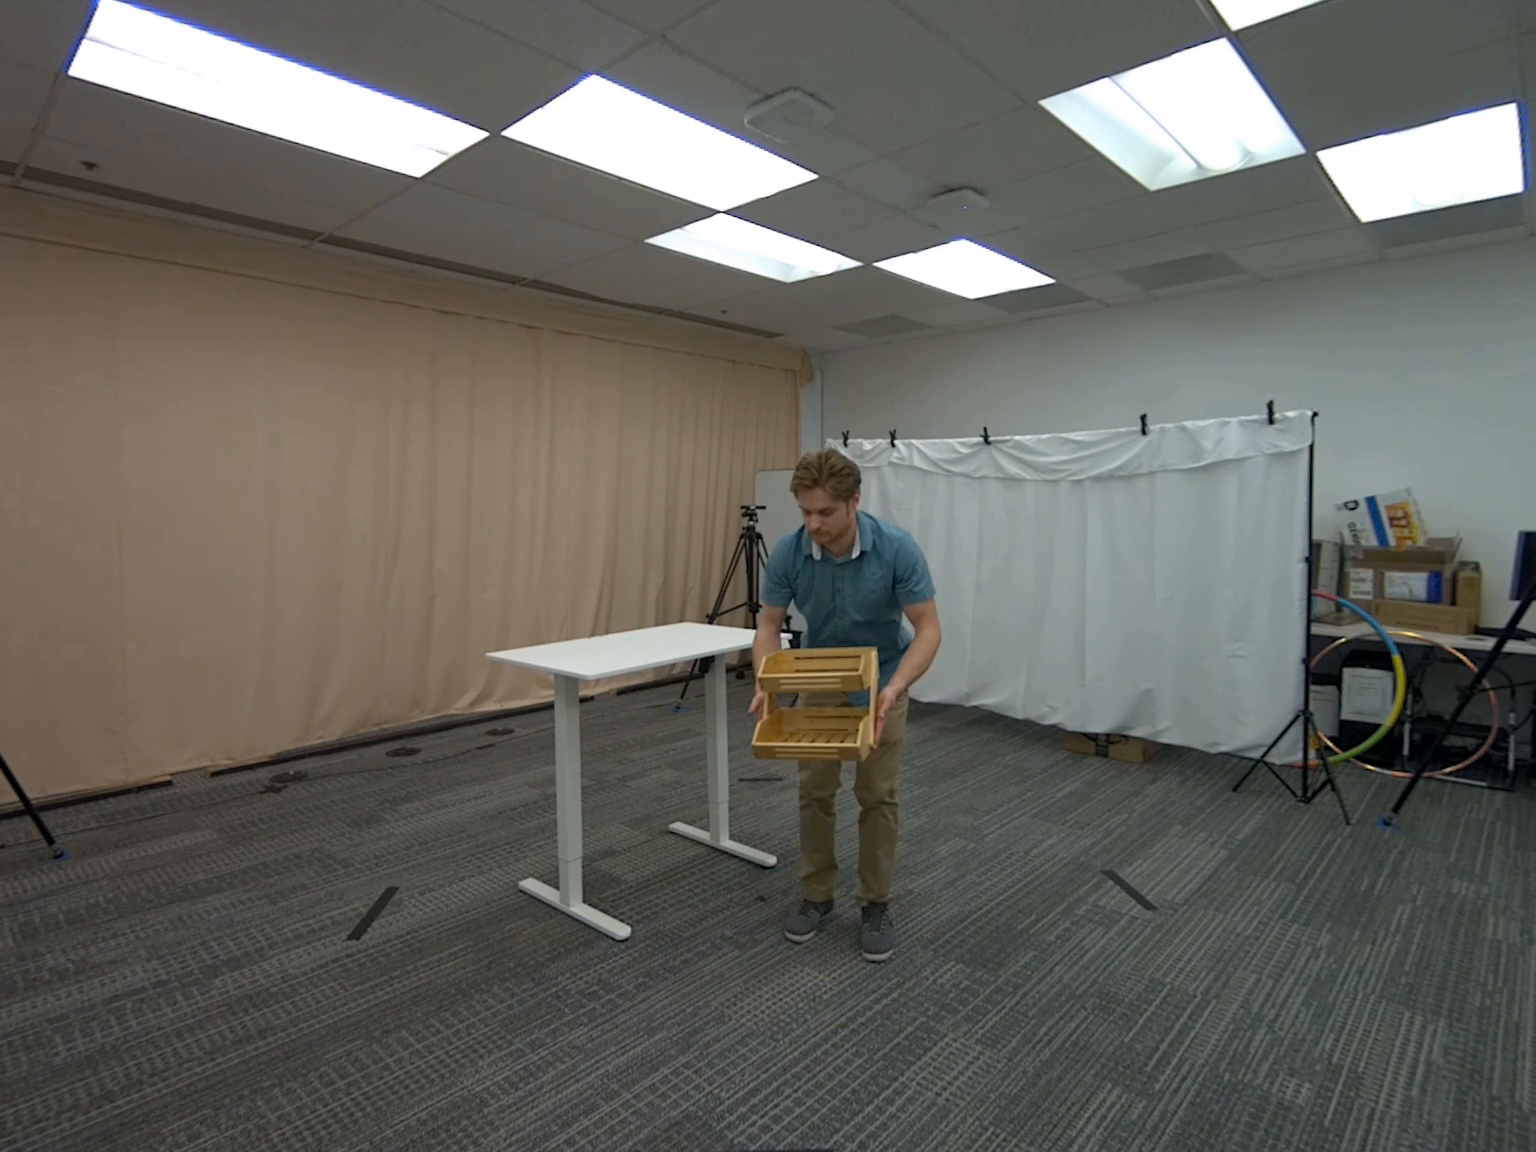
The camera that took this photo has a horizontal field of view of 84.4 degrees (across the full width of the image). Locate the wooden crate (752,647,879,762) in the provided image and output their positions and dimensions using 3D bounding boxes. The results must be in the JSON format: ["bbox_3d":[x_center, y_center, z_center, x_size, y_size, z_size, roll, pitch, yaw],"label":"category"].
[{"bbox_3d":[0.141,0.361,2.382,0.331,0.273,0.295,-4,1,22],"label":"wooden crate"}]
